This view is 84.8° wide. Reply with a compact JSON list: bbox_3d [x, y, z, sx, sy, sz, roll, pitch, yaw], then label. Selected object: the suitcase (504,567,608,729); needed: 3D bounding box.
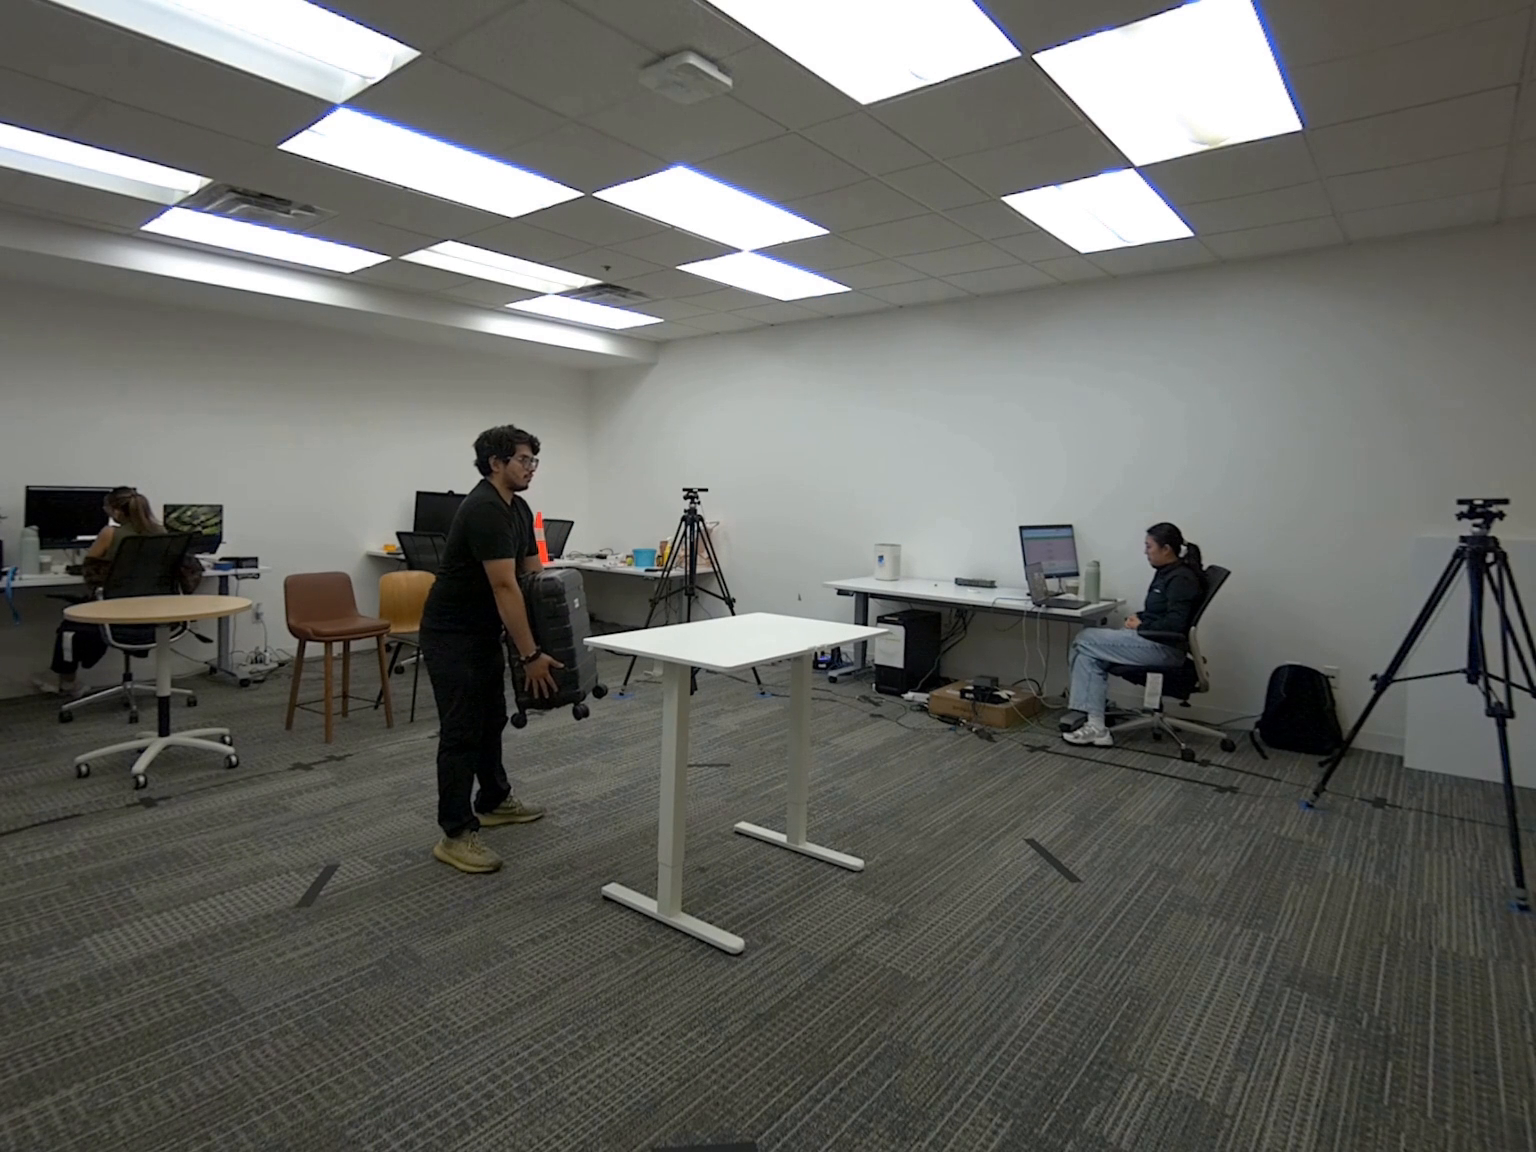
[{"bbox_3d":[-0.853,0.256,3.277,0.249,0.548,0.375,-8,3,2],"label":"suitcase"}]
